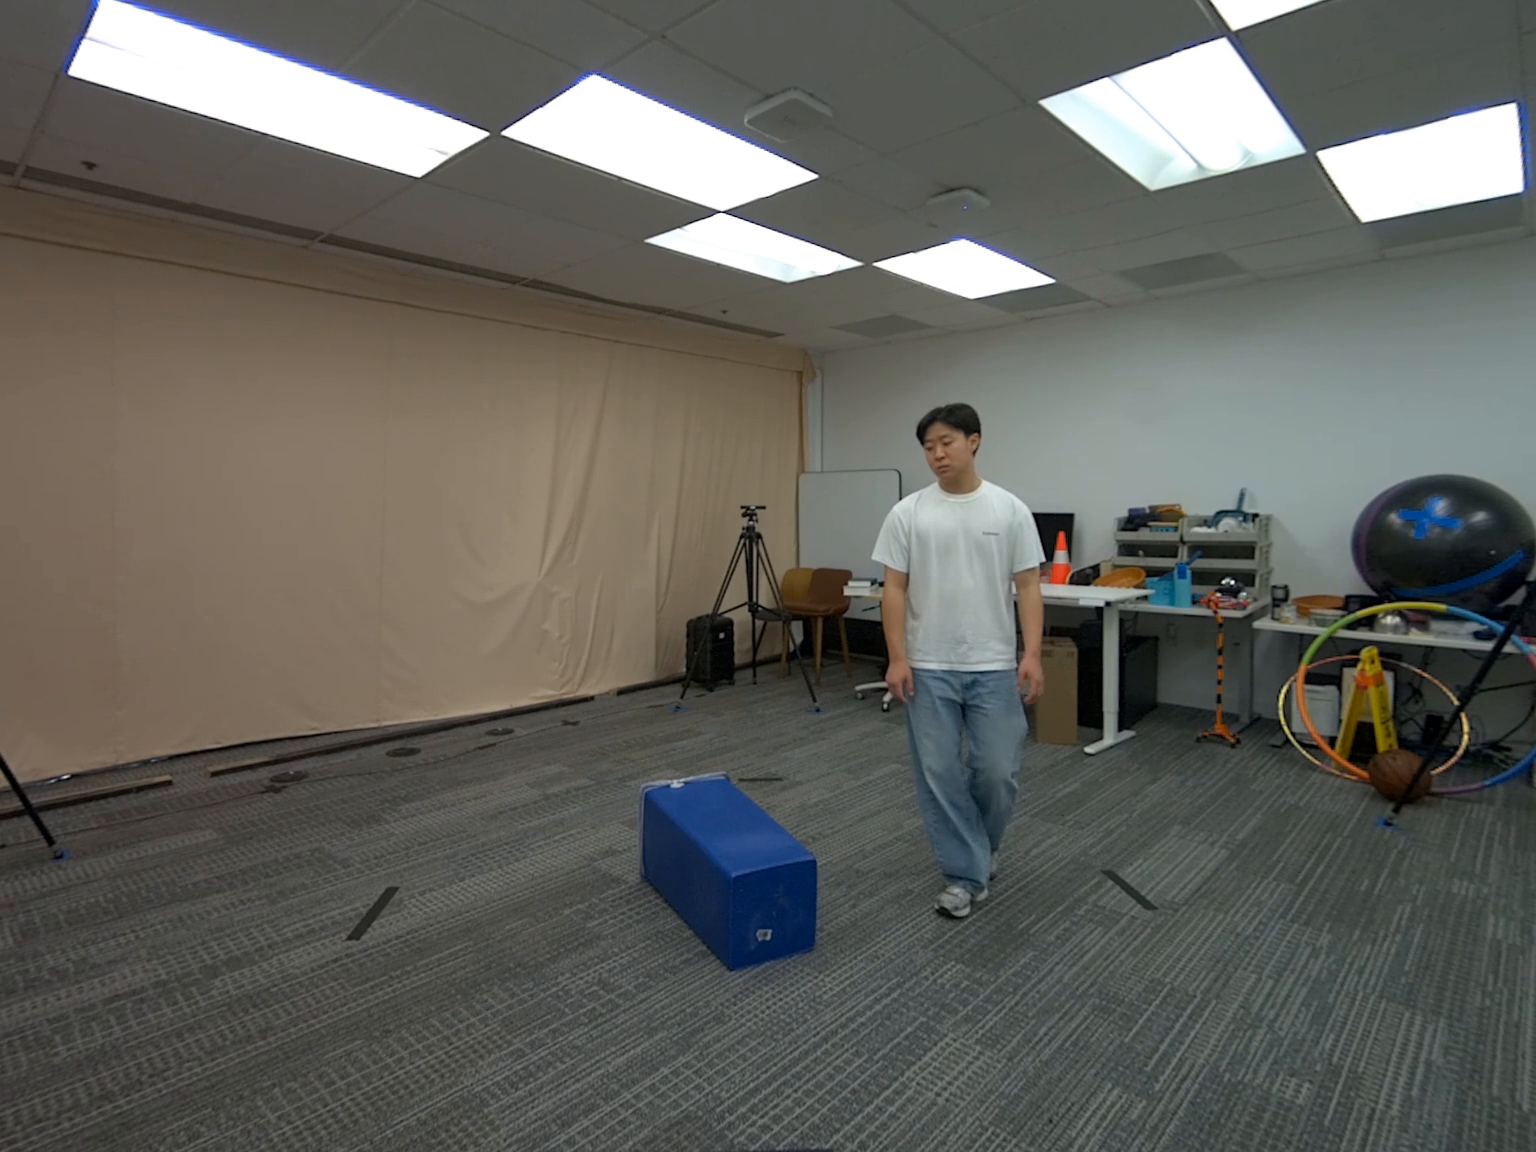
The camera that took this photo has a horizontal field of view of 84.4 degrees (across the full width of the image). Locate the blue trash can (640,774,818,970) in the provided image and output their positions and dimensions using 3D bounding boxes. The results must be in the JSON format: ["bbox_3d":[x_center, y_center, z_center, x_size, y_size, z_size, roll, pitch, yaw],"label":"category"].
[{"bbox_3d":[-0.141,0.991,2.882,0.364,0.376,0.735,-2,7,-28],"label":"blue trash can"}]
